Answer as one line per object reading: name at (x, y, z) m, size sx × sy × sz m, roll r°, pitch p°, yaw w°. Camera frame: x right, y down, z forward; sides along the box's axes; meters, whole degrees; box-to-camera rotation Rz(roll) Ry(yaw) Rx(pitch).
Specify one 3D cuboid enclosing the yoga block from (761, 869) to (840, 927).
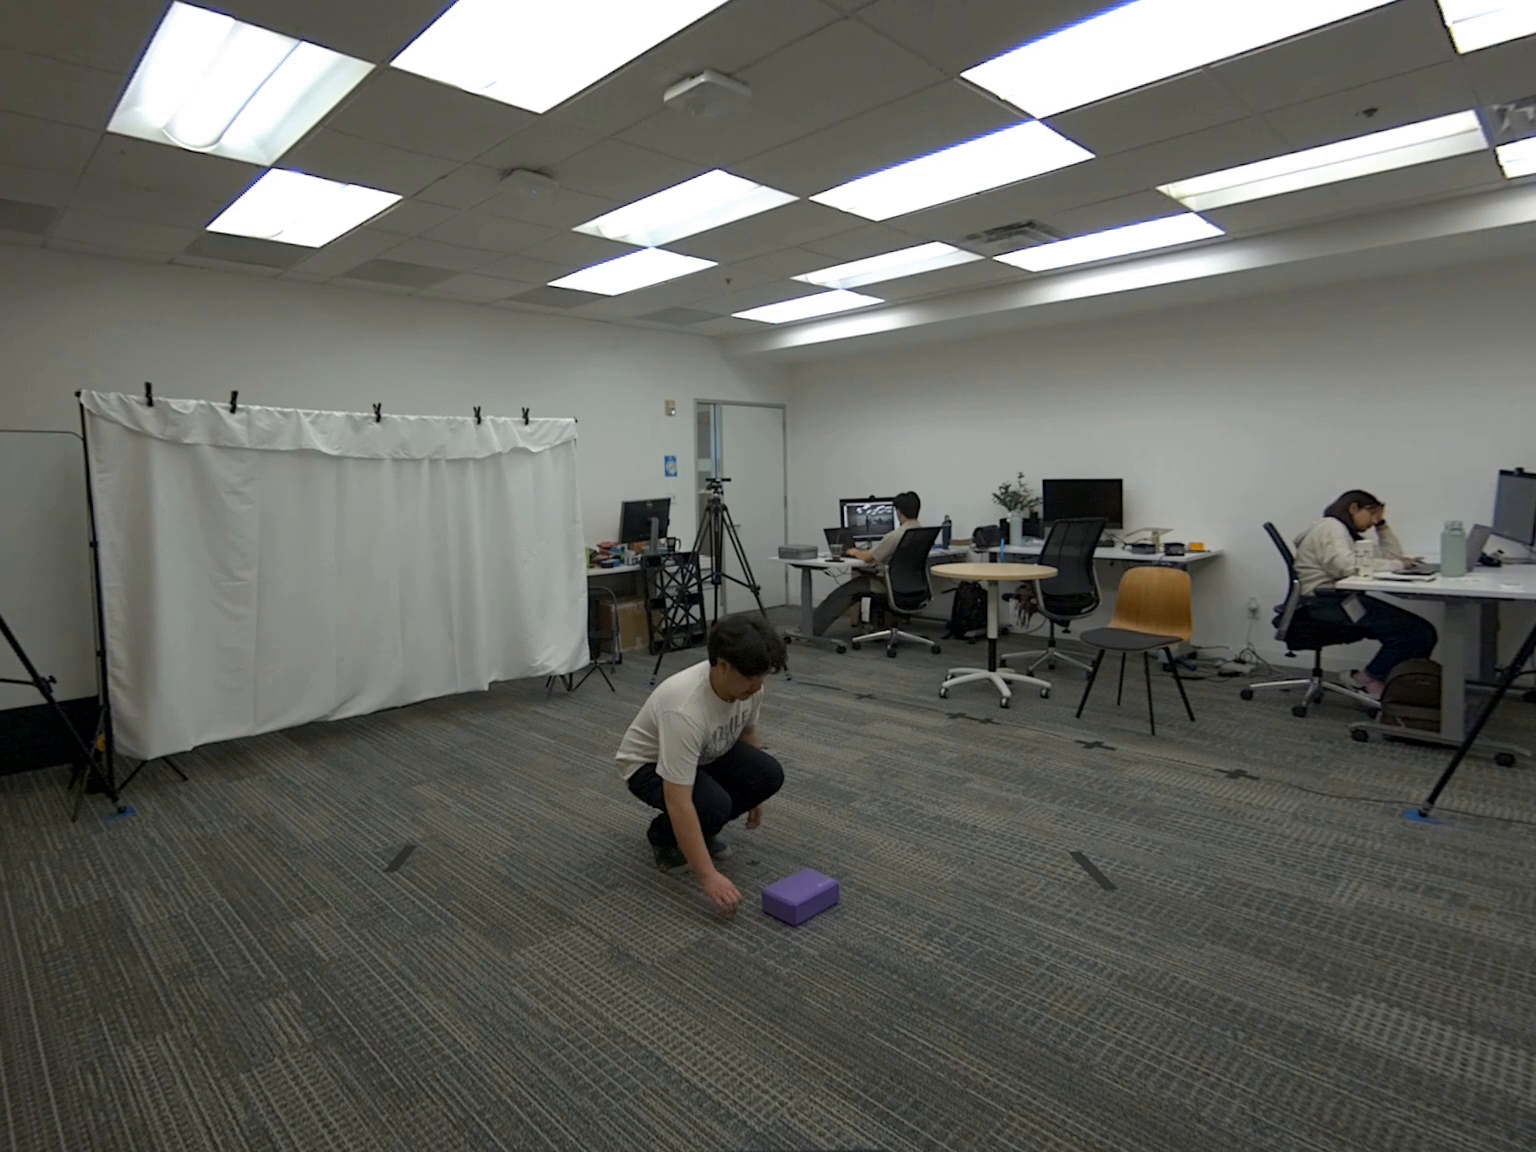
yoga block at (0.107, 1.036, 2.776) m, size 0.153 × 0.076 × 0.224 m, roll 4°, pitch 9°, yaw 42°
